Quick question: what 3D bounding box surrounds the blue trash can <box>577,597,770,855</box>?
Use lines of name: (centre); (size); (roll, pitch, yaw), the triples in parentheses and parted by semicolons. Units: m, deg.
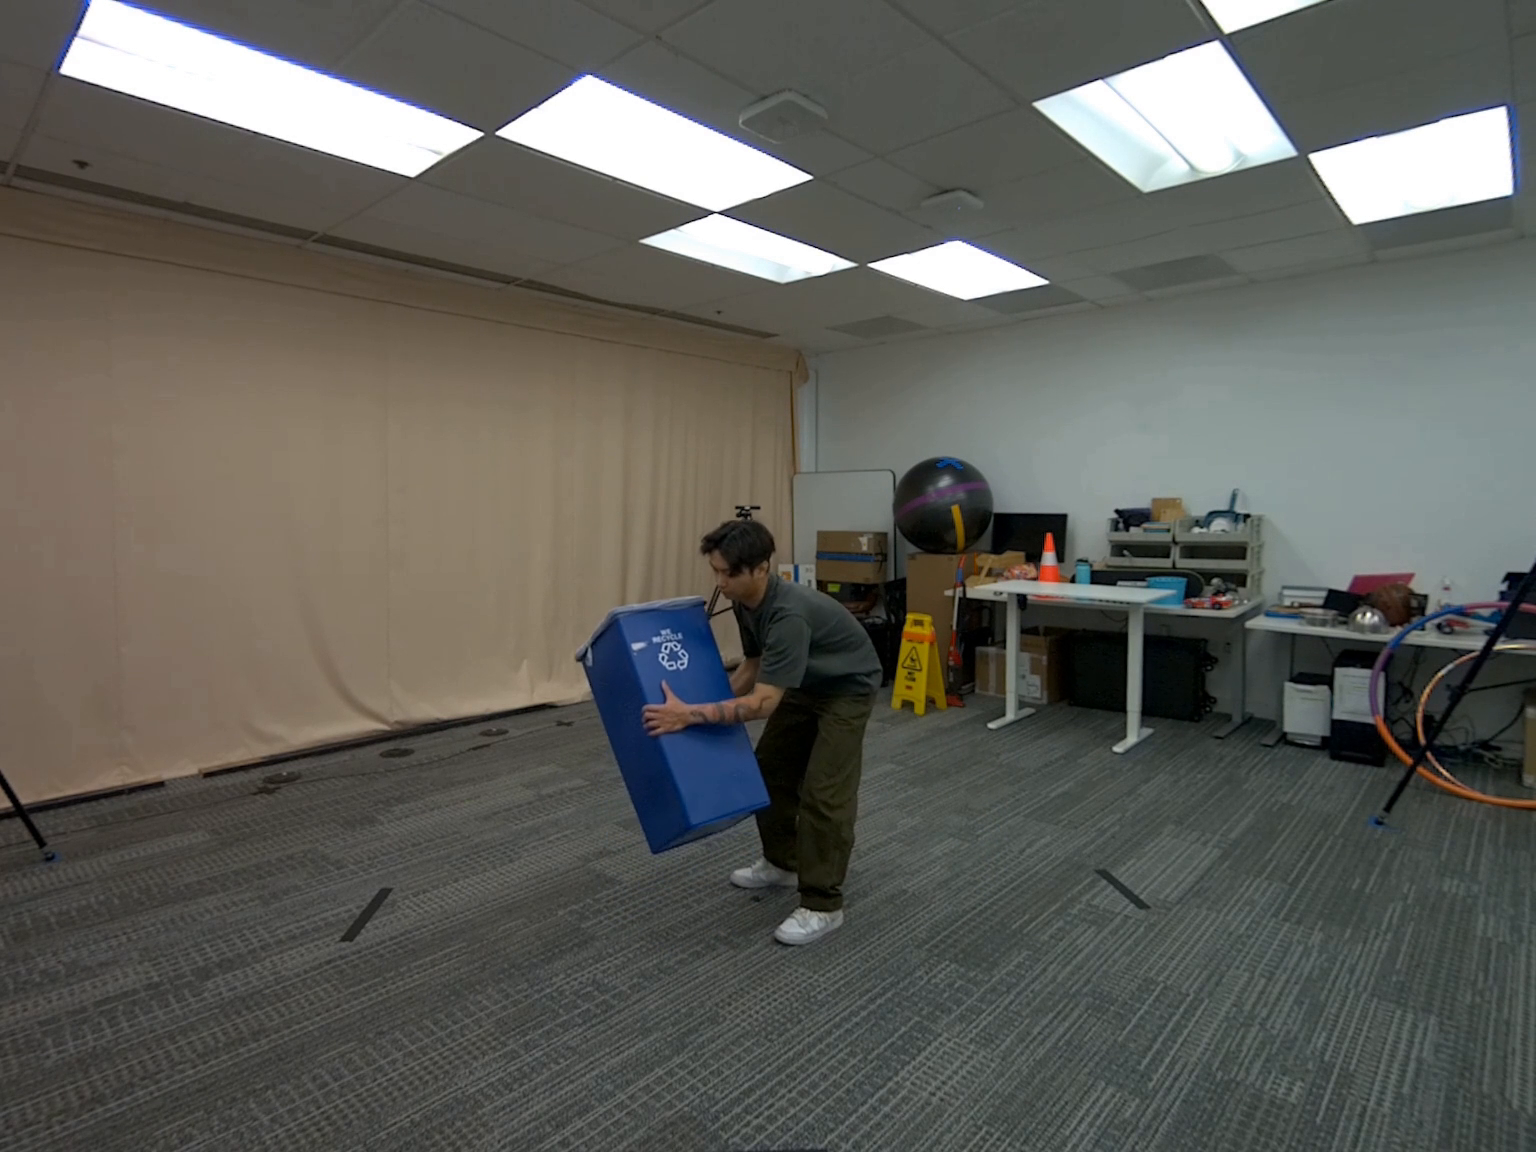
blue trash can: (-0.313, 0.490, 2.756); (0.367, 0.728, 0.377); (-5, -27, -36)
